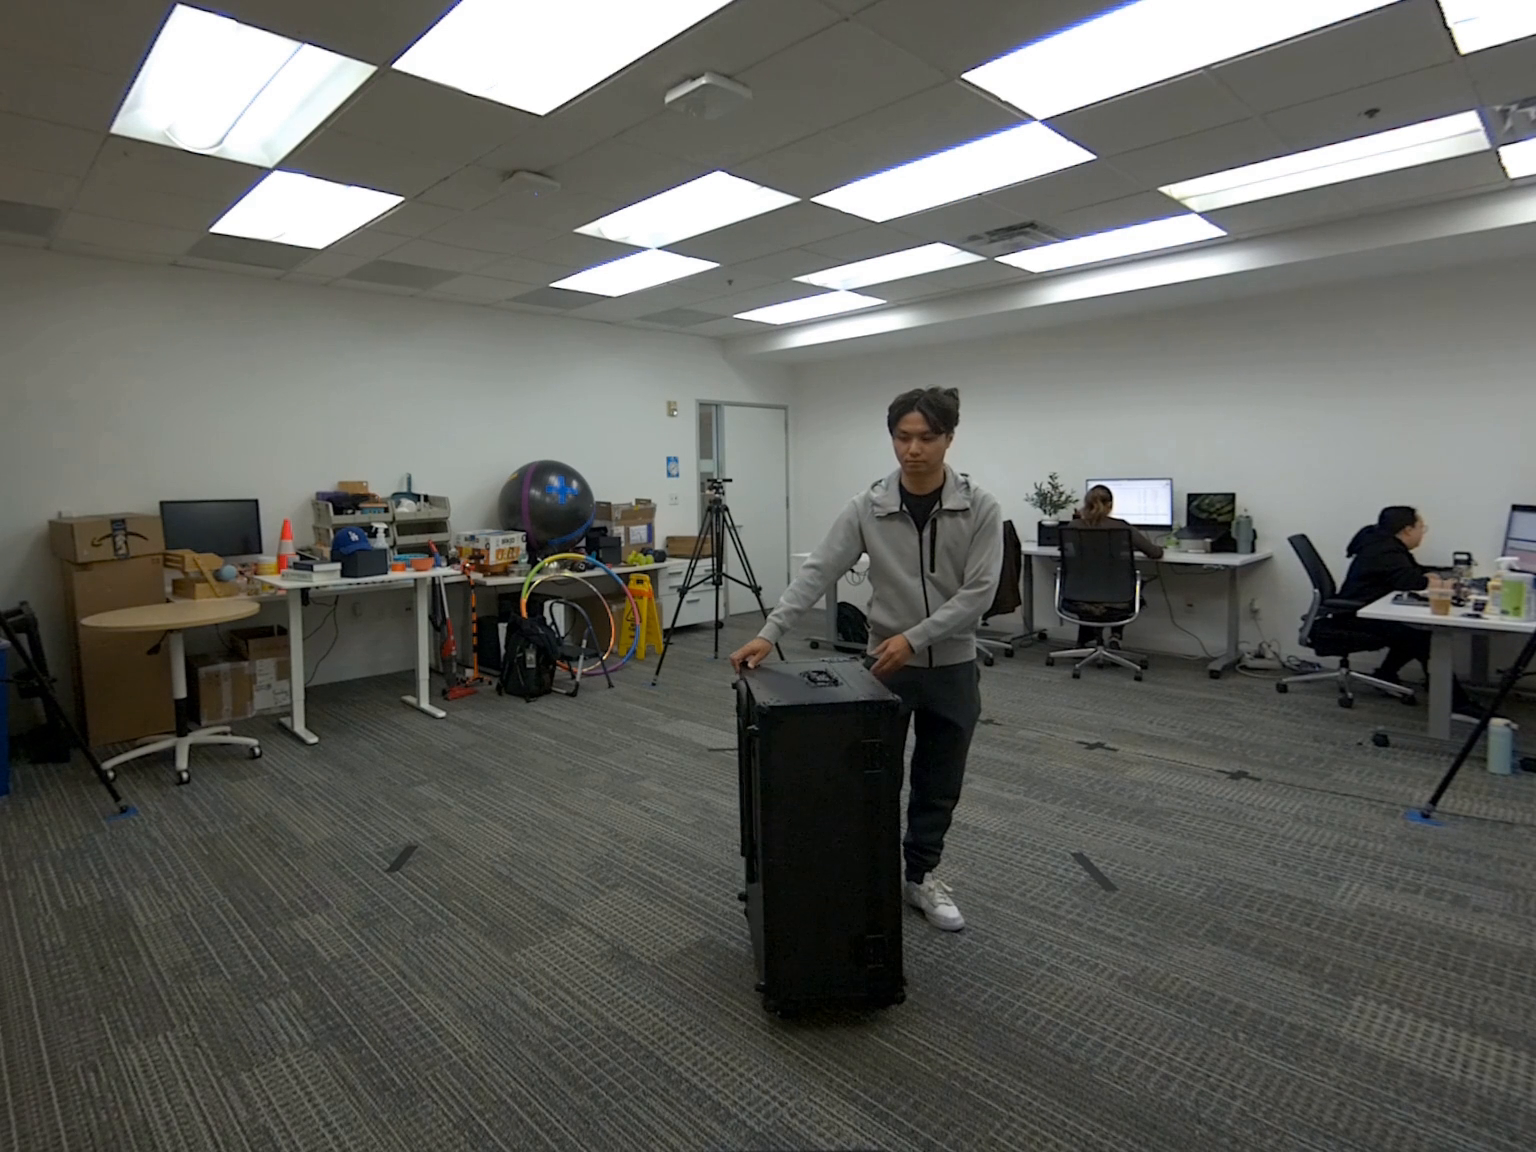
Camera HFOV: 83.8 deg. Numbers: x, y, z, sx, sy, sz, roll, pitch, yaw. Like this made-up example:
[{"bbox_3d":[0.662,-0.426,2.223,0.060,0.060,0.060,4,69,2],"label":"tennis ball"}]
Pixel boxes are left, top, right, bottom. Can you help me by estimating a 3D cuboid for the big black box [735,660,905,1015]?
[{"bbox_3d":[0.127,0.708,2.348,0.395,0.858,0.525,-2,5,-5],"label":"big black box"}]
